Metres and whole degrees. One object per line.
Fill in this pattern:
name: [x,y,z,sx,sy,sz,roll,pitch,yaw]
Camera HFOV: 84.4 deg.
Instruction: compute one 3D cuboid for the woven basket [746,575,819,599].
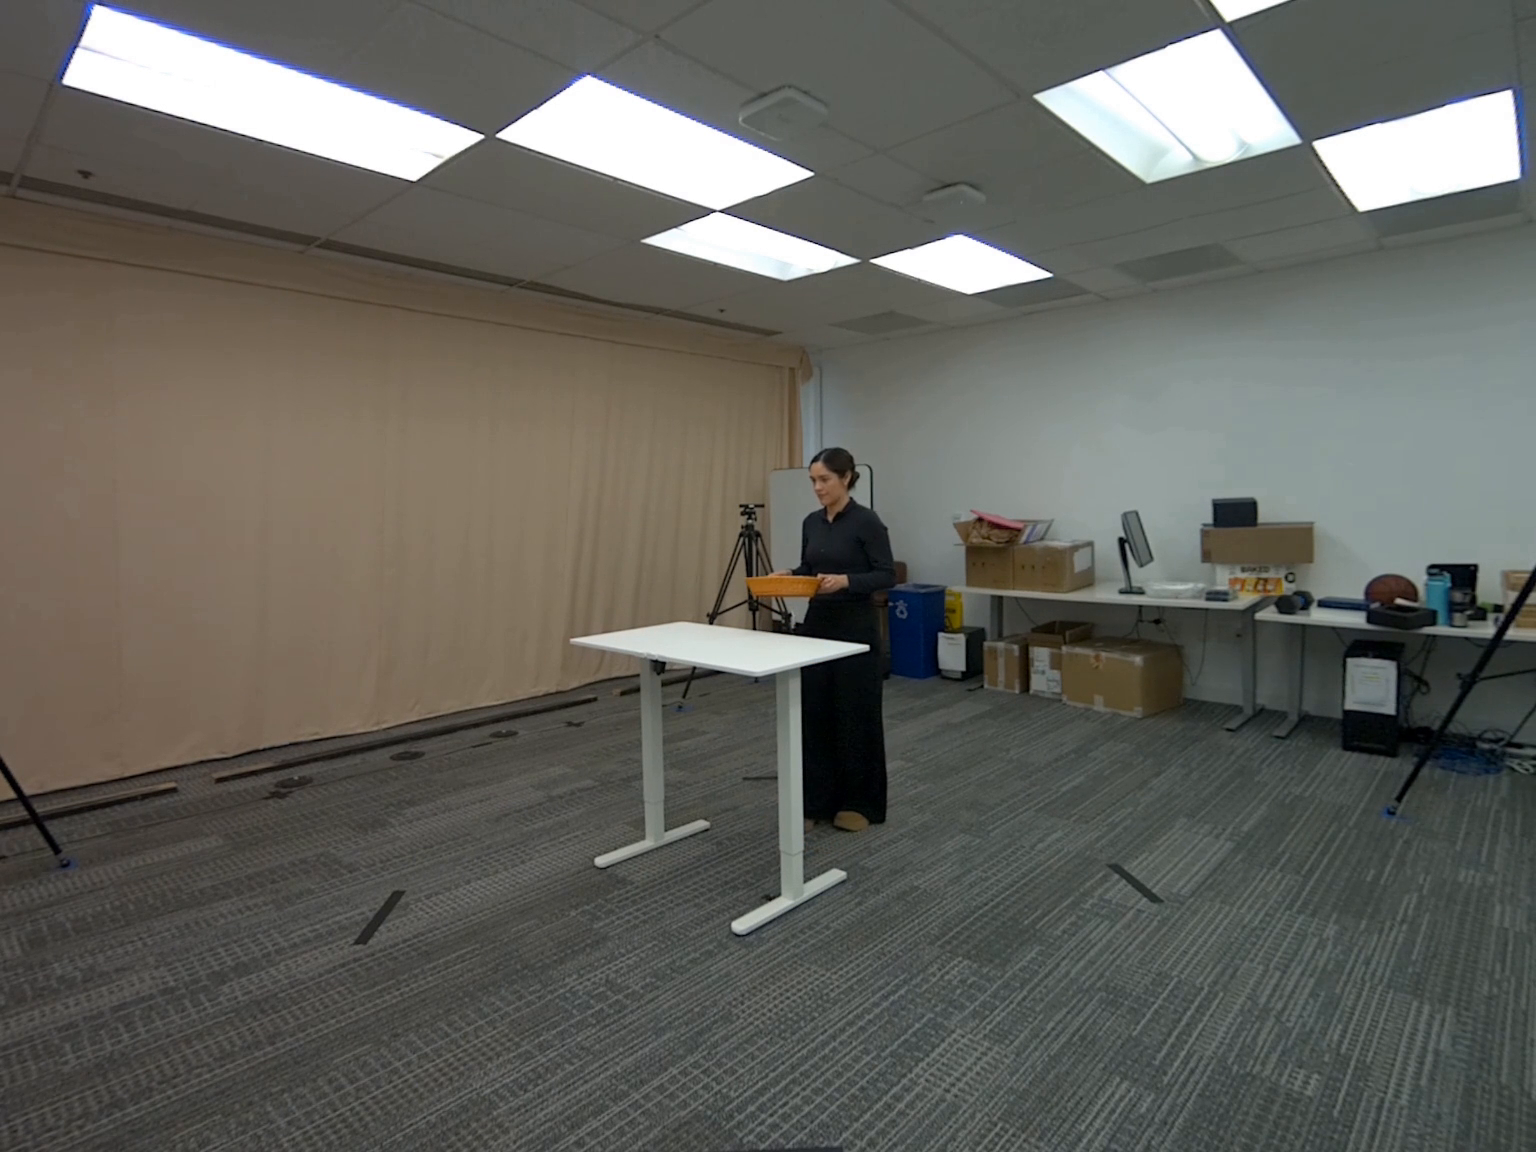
woven basket: [0.076,0.044,3.439,0.245,0.073,0.360,1,-2,-34]
